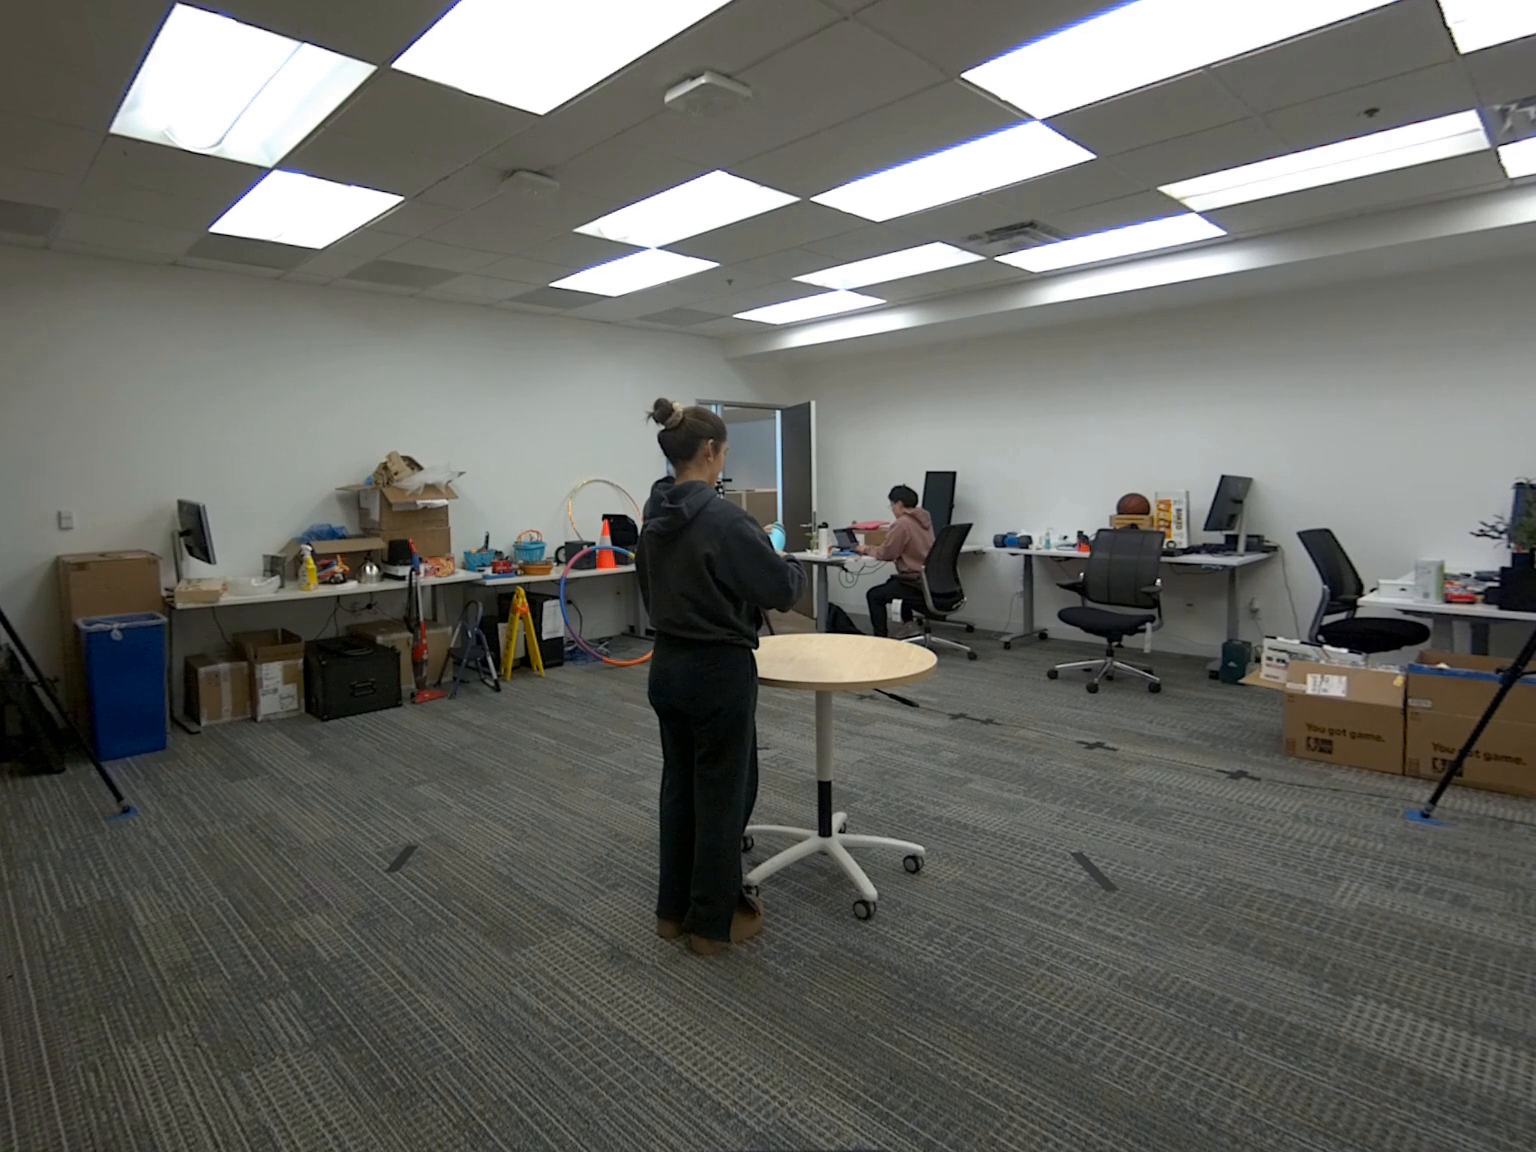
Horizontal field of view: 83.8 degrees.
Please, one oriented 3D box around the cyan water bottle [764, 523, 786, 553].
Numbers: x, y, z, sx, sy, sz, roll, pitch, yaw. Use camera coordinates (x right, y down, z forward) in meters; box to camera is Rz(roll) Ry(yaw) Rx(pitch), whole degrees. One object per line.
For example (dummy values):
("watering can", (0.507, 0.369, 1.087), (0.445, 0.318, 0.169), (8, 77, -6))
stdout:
("cyan water bottle", (0.014, -0.082, 2.747), (0.093, 0.090, 0.288), (-1, 32, 7))
